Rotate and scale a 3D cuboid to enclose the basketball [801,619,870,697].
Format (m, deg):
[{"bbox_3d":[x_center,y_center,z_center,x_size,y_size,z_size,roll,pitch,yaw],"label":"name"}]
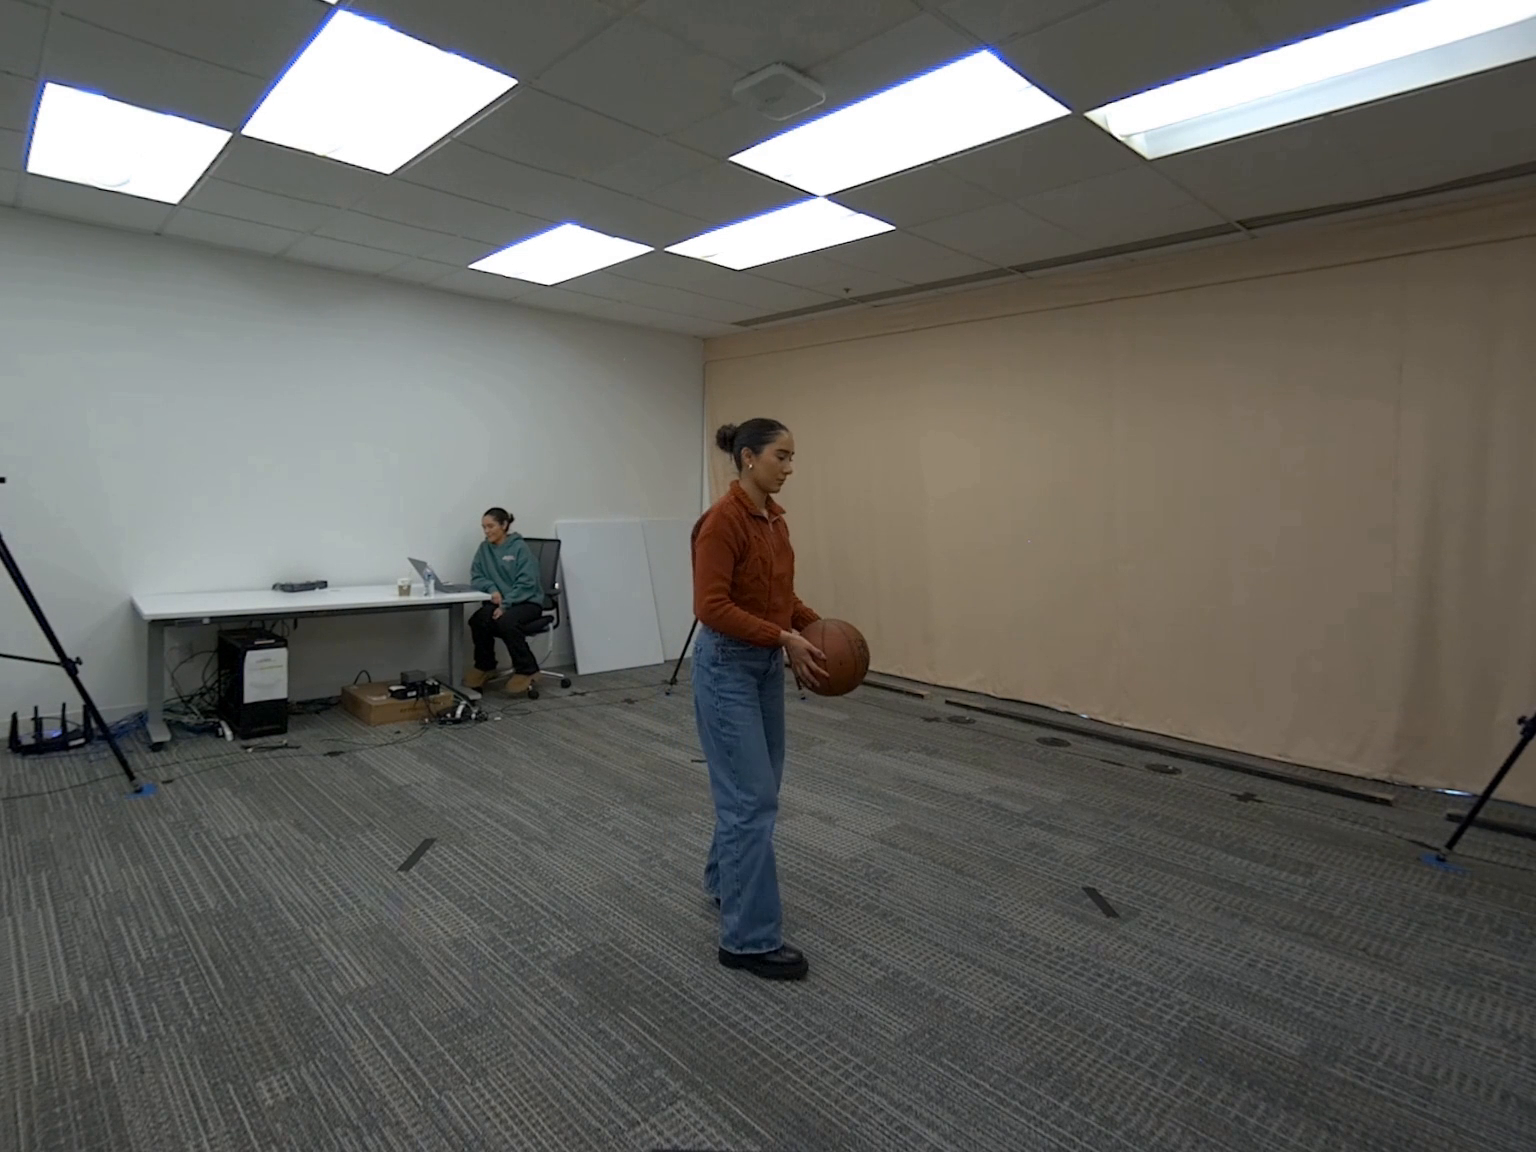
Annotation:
[{"bbox_3d":[0.183,0.241,2.561,0.236,0.235,0.237,1,4,-1],"label":"basketball"}]
